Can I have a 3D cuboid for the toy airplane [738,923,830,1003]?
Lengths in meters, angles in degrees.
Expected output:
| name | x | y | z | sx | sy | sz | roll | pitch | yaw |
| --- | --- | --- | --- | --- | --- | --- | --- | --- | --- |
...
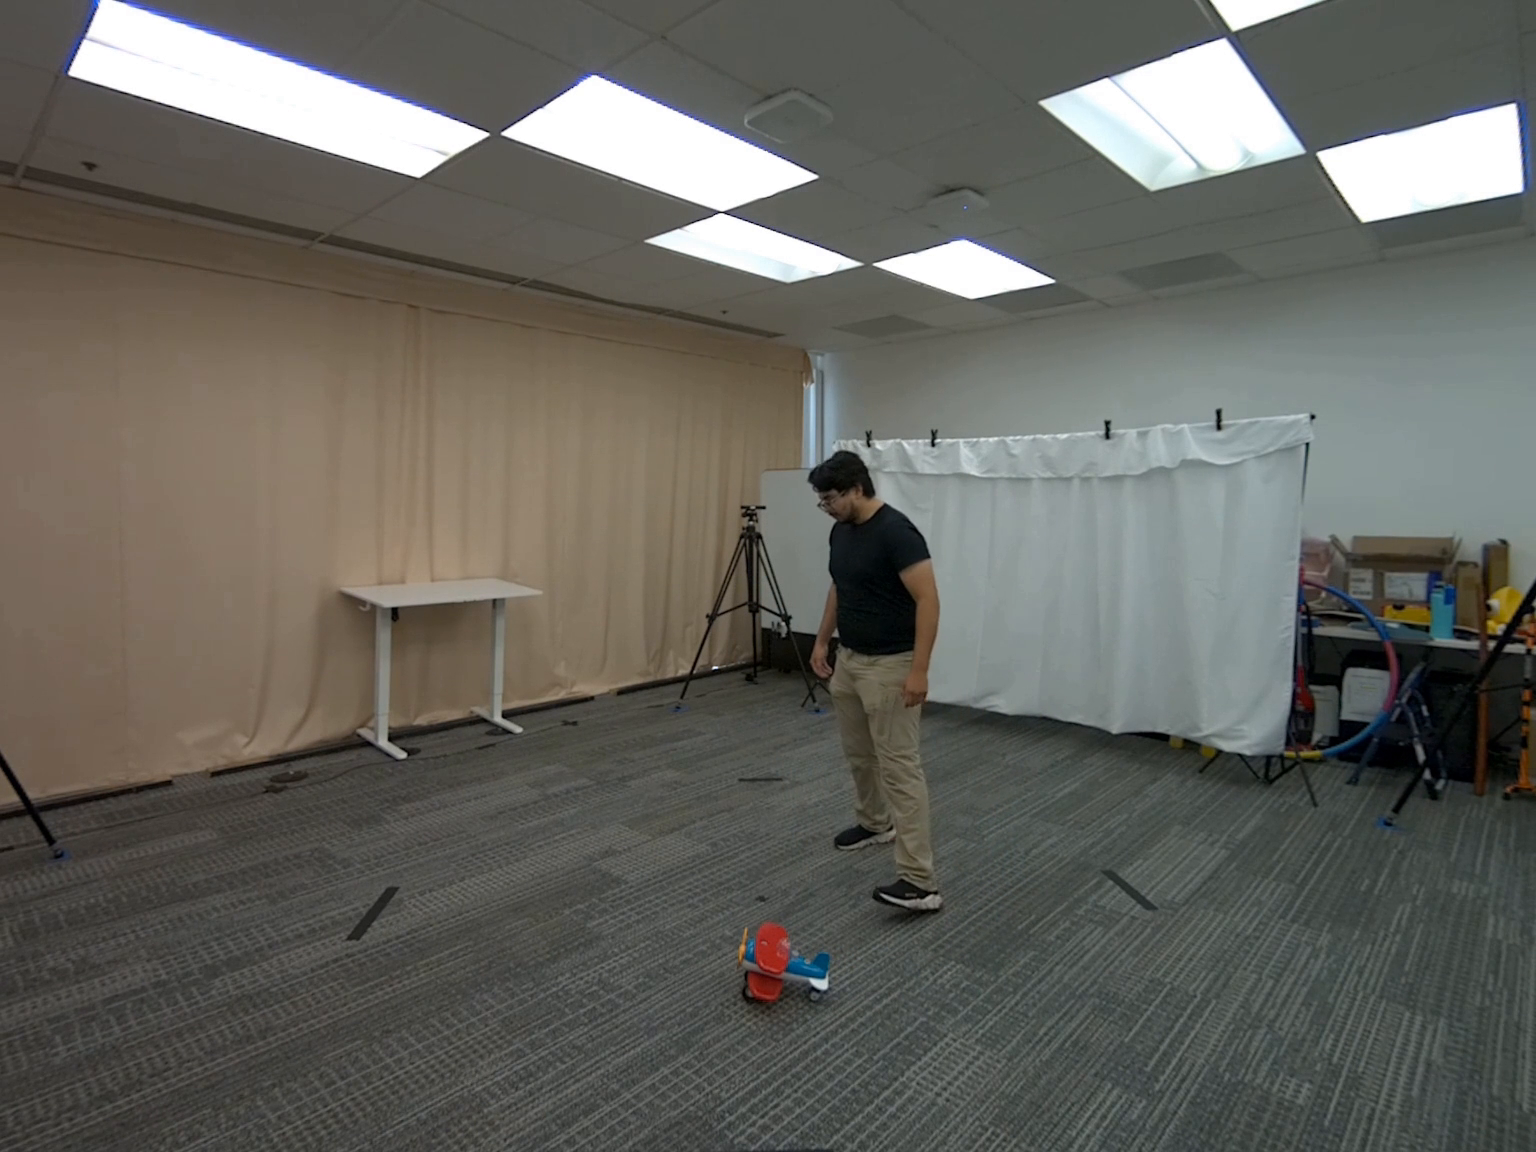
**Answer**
| name | x | y | z | sx | sy | sz | roll | pitch | yaw |
| --- | --- | --- | --- | --- | --- | --- | --- | --- | --- |
| toy airplane | 0.042 | 1.117 | 2.414 | 0.253 | 0.156 | 0.257 | -4 | 5 | -23 |
